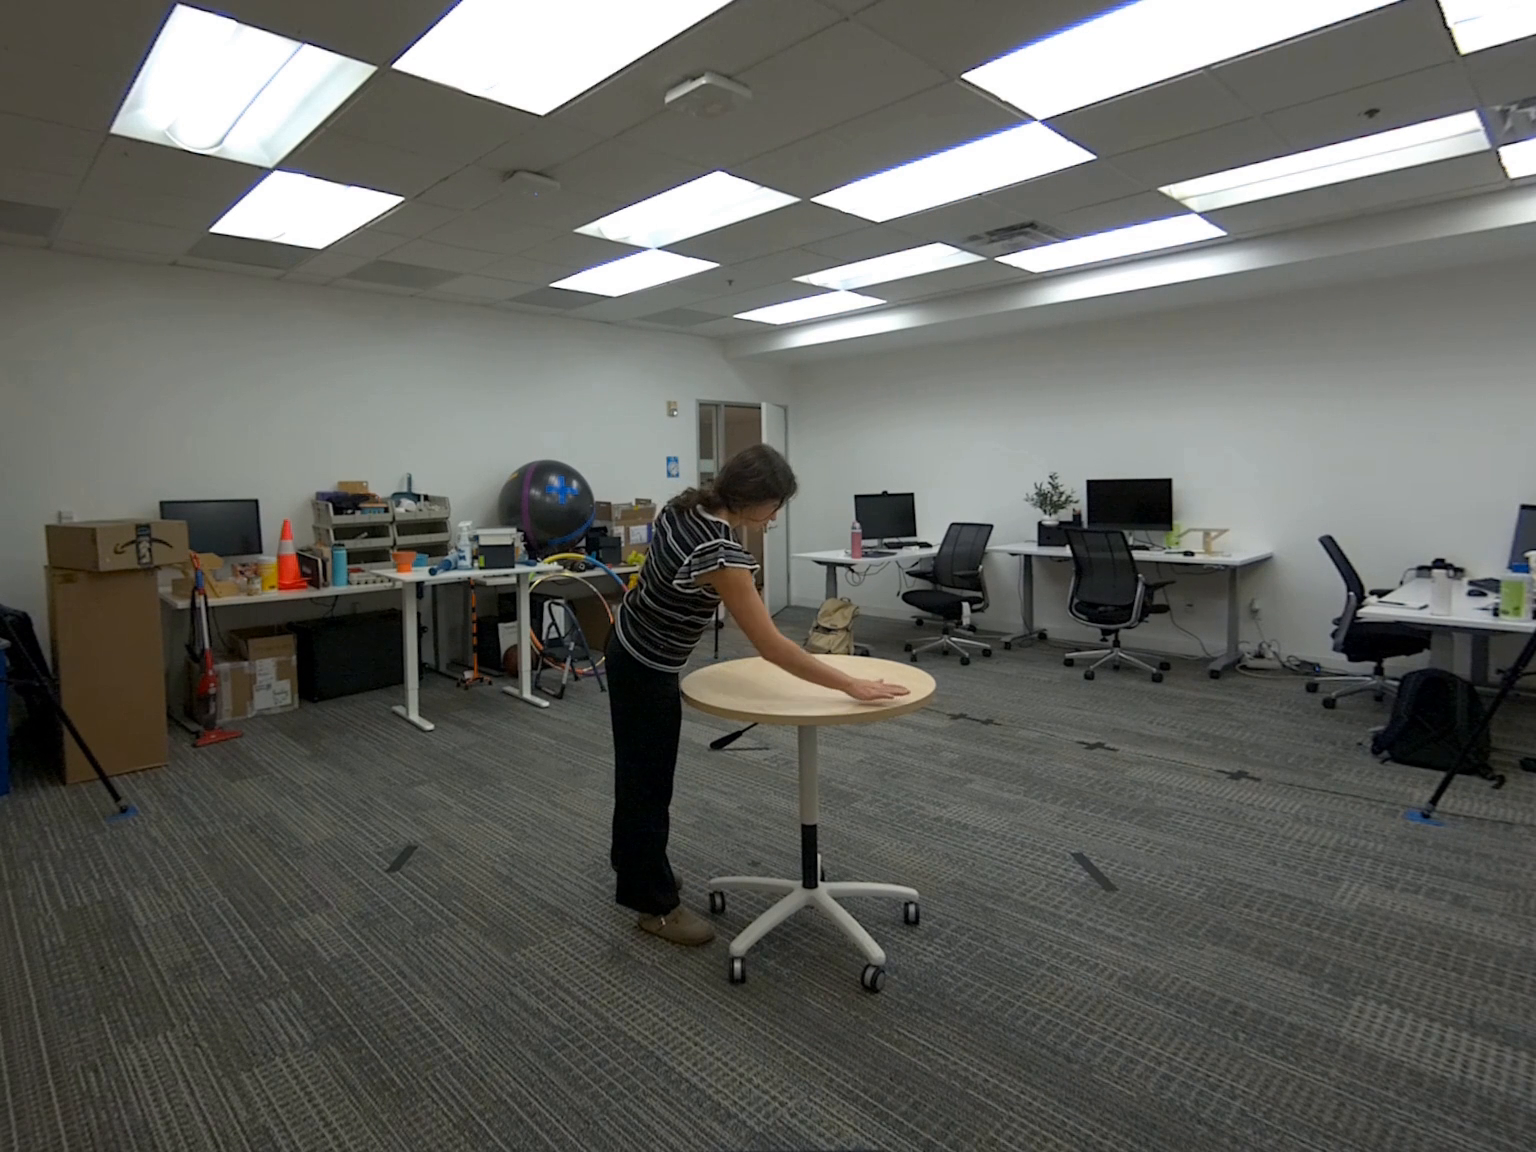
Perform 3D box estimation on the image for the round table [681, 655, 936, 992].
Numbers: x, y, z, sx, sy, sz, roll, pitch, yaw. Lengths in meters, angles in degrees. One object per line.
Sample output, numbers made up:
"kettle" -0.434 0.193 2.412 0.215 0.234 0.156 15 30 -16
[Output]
"round table" 0.133 0.707 2.616 0.763 0.791 0.768 -2 5 -2
